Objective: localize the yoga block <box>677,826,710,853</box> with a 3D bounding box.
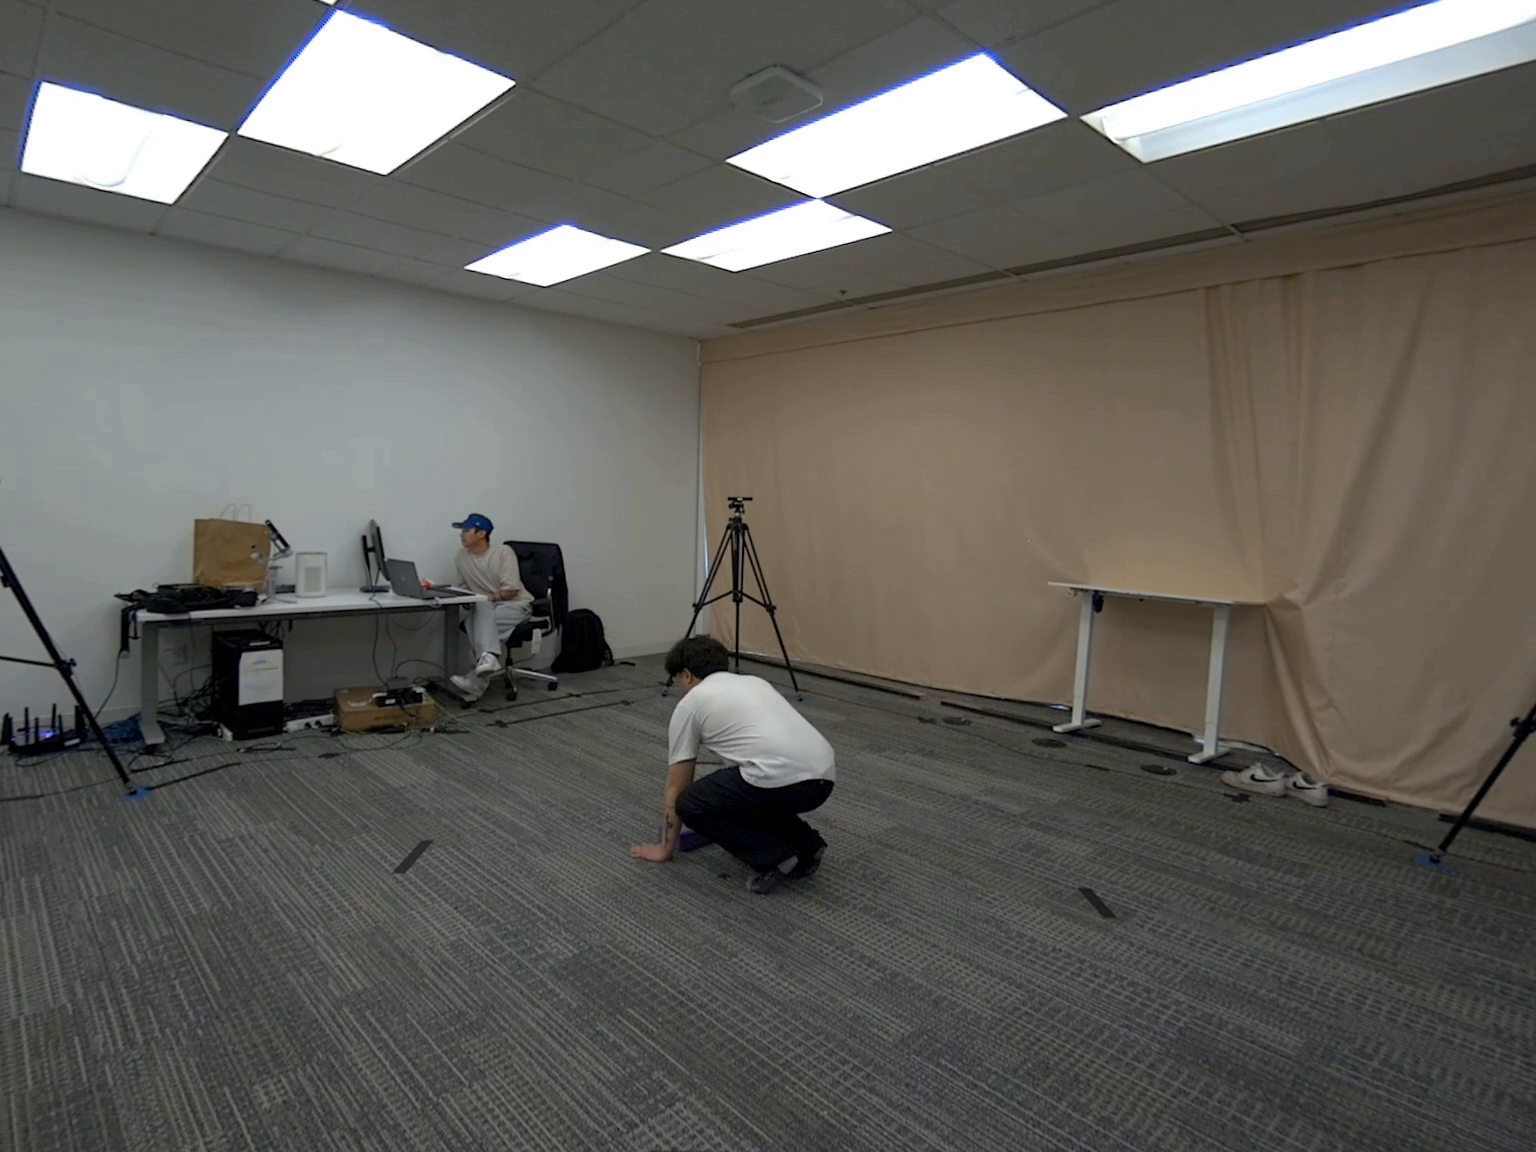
[{"bbox_3d":[-0.307,1.035,3.423,0.224,0.076,0.153,-3,6,-43],"label":"yoga block"}]
